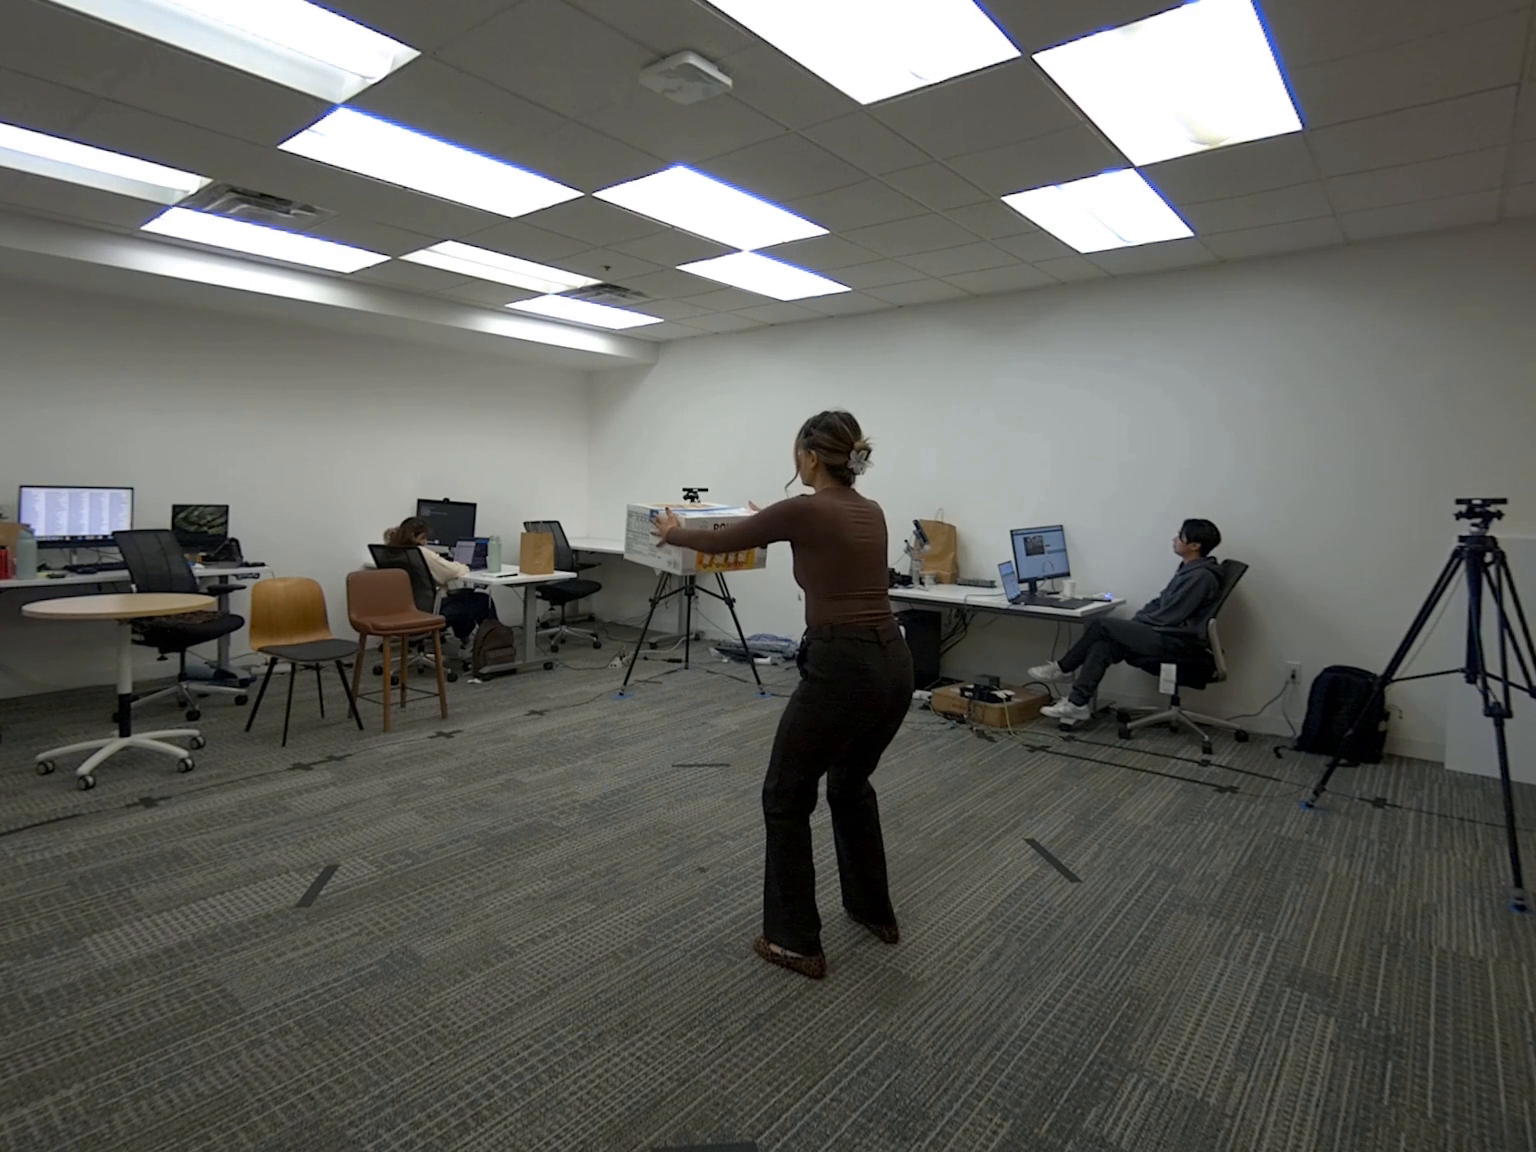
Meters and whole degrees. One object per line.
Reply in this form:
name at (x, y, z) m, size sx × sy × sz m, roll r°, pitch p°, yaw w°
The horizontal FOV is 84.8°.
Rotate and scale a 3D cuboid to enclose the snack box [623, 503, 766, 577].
snack box at (-0.270, -0.142, 3.094) m, size 0.393 × 0.204 × 0.353 m, roll -5°, pitch 14°, yaw -43°
